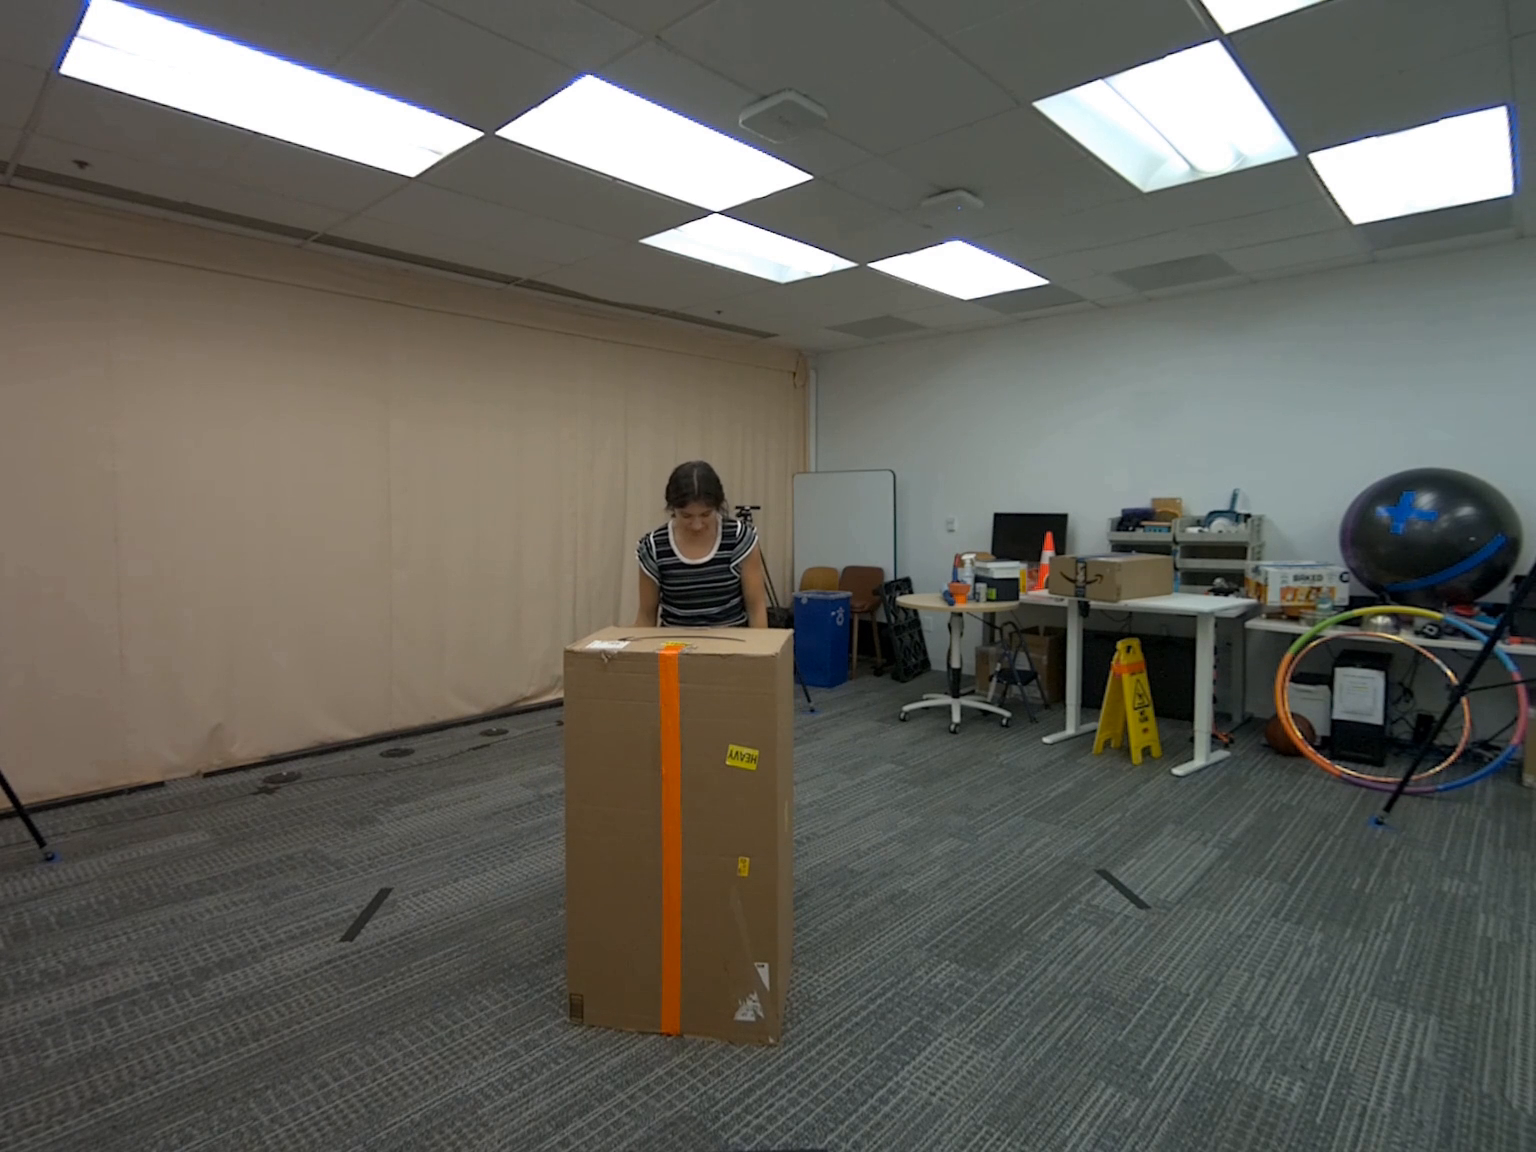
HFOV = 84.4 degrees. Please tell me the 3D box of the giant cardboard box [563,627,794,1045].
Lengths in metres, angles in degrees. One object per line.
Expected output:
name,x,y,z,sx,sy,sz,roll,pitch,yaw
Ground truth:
giant cardboard box,-0.225,0.686,2.394,0.583,1.024,0.423,1,3,9
